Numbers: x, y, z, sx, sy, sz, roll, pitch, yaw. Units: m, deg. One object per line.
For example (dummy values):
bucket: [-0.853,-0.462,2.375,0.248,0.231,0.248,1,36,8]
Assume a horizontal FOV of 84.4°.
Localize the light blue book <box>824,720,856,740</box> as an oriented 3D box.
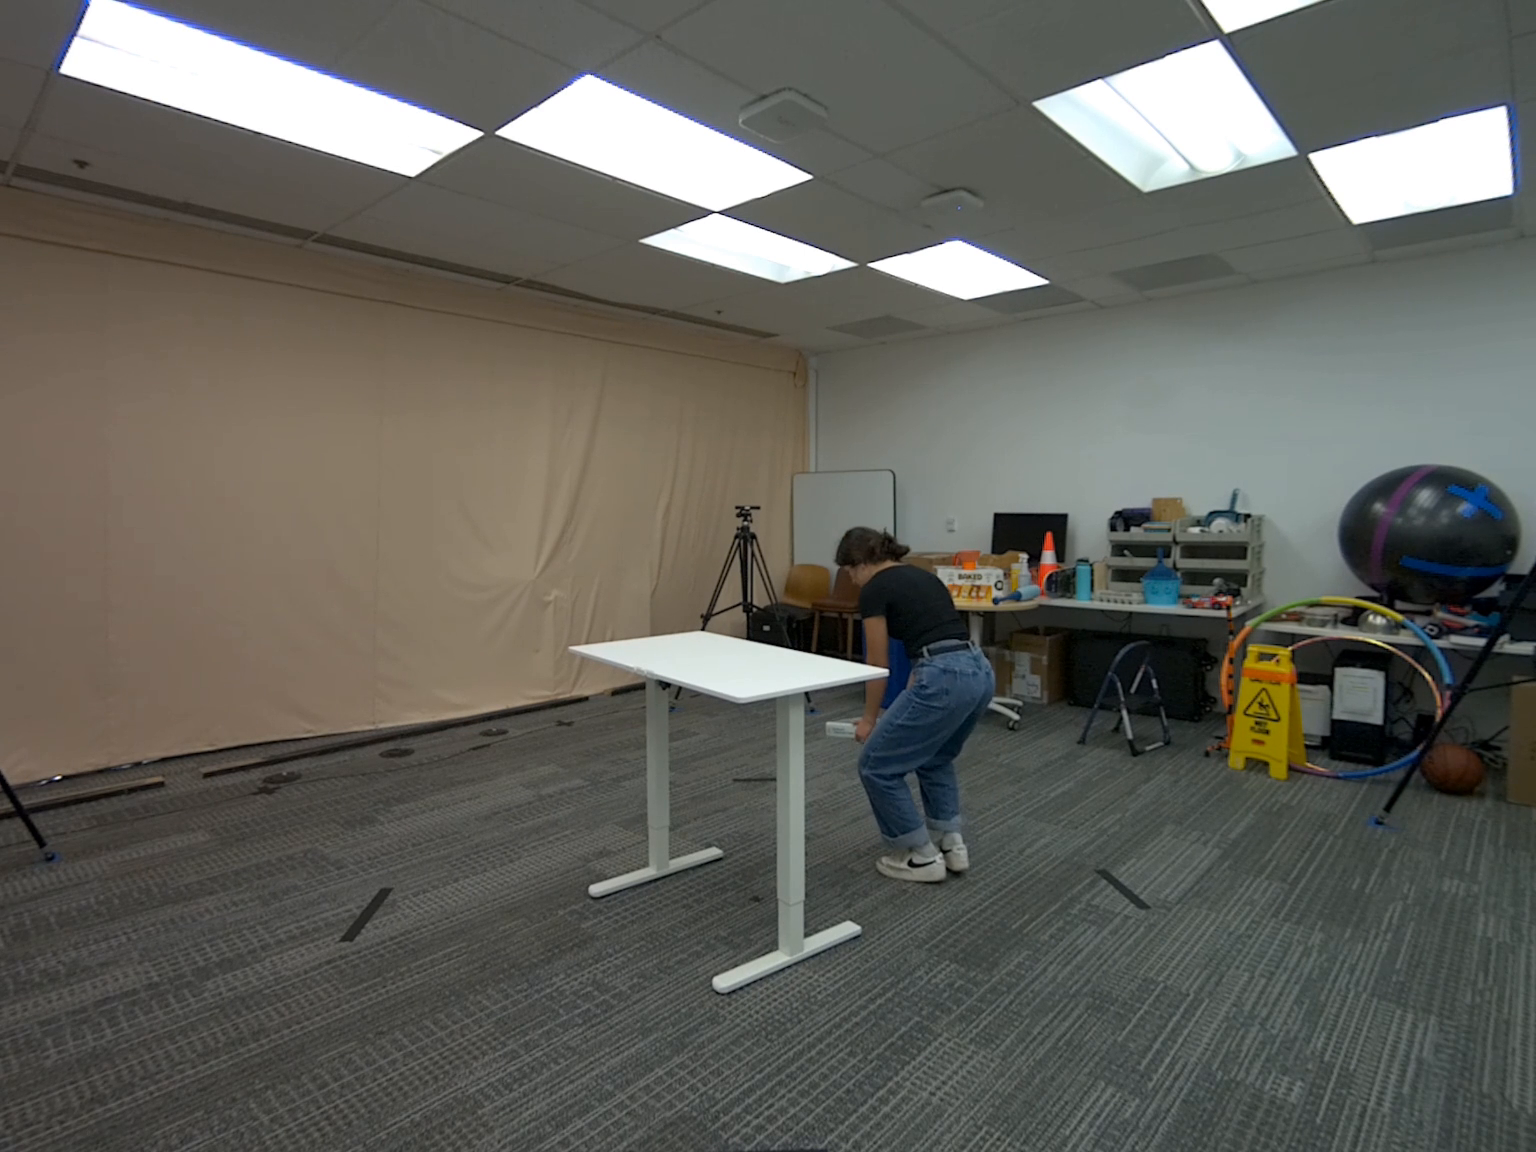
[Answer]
light blue book: [0.391,0.629,3.439,0.186,0.059,0.268,-1,-3,-35]
